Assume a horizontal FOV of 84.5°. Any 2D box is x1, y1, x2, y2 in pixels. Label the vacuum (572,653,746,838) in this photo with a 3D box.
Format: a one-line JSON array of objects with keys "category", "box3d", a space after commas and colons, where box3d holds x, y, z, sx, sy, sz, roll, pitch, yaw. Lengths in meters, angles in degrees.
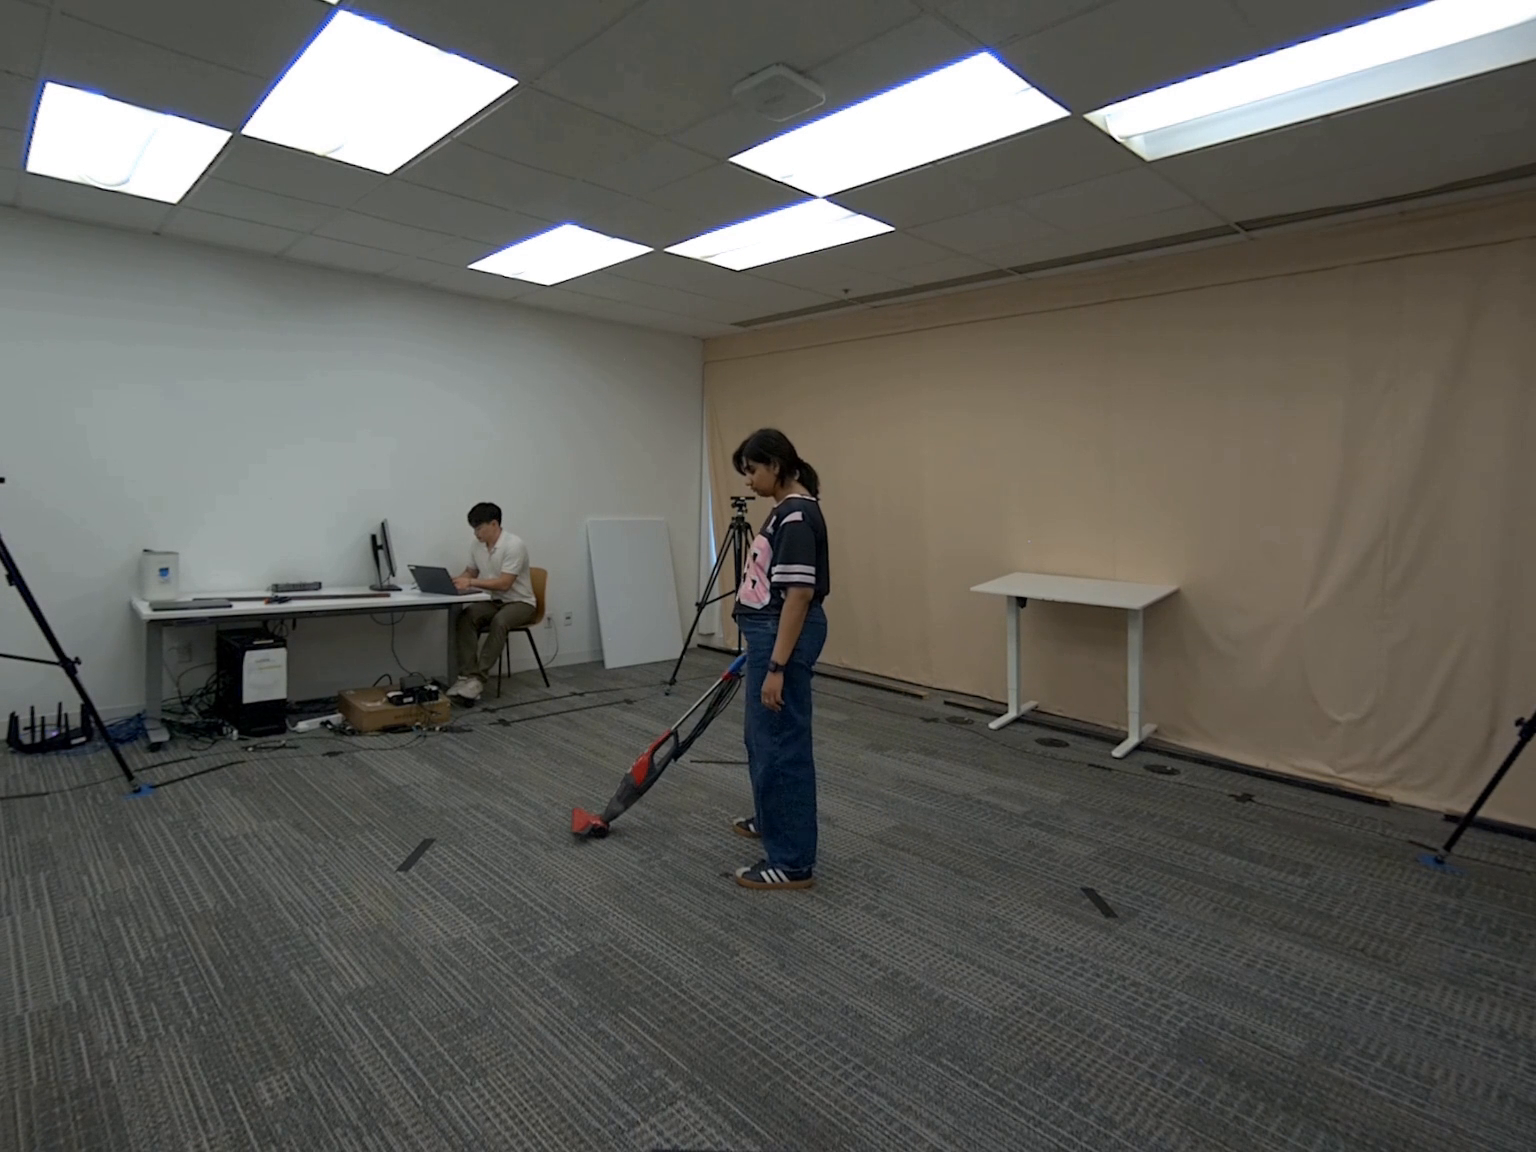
[{"category": "vacuum", "box3d": [-0.373, 0.668, 3.499, 1.049, 0.142, 0.256, -44, 12, -4]}]
